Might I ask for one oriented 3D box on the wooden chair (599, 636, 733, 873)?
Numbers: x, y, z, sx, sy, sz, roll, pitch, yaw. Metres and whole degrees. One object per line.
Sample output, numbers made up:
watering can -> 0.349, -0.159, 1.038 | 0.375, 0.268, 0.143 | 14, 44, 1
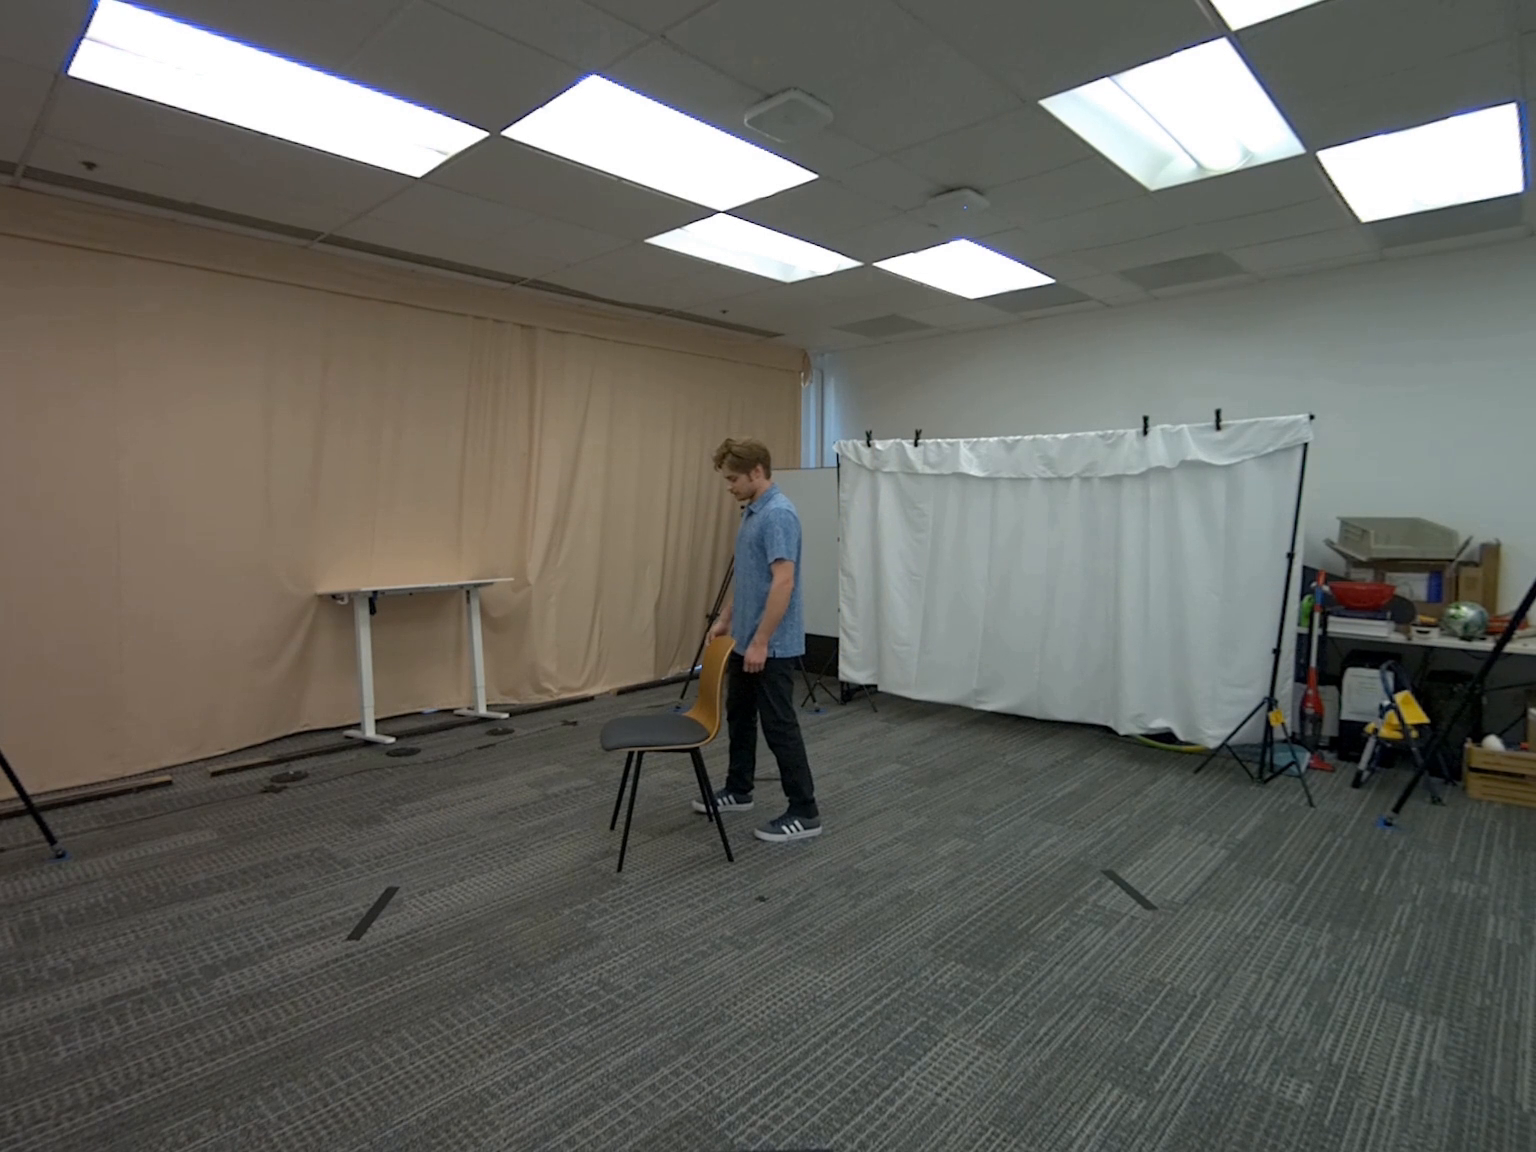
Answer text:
wooden chair -> -0.422, 0.681, 3.426 | 0.516, 0.876, 0.486 | 3, 3, -13
